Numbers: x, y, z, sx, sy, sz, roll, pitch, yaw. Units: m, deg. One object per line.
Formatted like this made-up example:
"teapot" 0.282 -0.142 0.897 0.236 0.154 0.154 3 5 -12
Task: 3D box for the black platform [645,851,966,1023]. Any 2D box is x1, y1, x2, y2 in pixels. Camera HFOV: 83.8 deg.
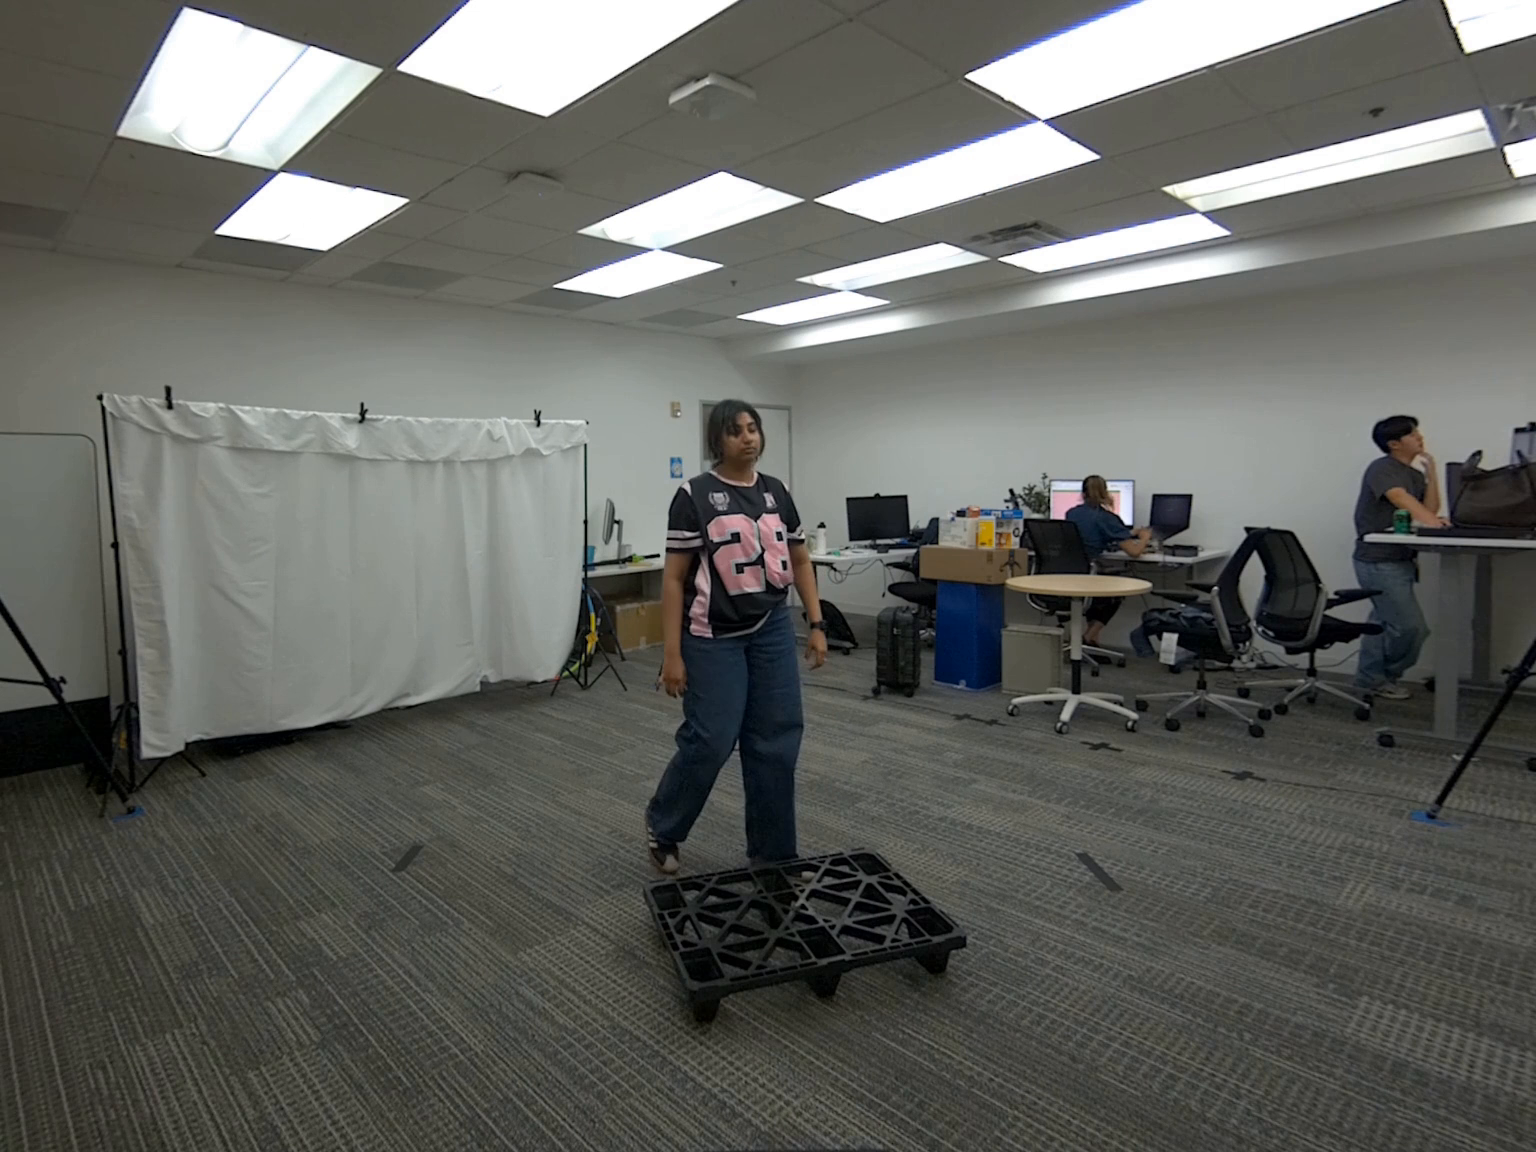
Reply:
"black platform" 0.081 1.045 2.528 0.793 0.143 0.617 -3 6 -18
